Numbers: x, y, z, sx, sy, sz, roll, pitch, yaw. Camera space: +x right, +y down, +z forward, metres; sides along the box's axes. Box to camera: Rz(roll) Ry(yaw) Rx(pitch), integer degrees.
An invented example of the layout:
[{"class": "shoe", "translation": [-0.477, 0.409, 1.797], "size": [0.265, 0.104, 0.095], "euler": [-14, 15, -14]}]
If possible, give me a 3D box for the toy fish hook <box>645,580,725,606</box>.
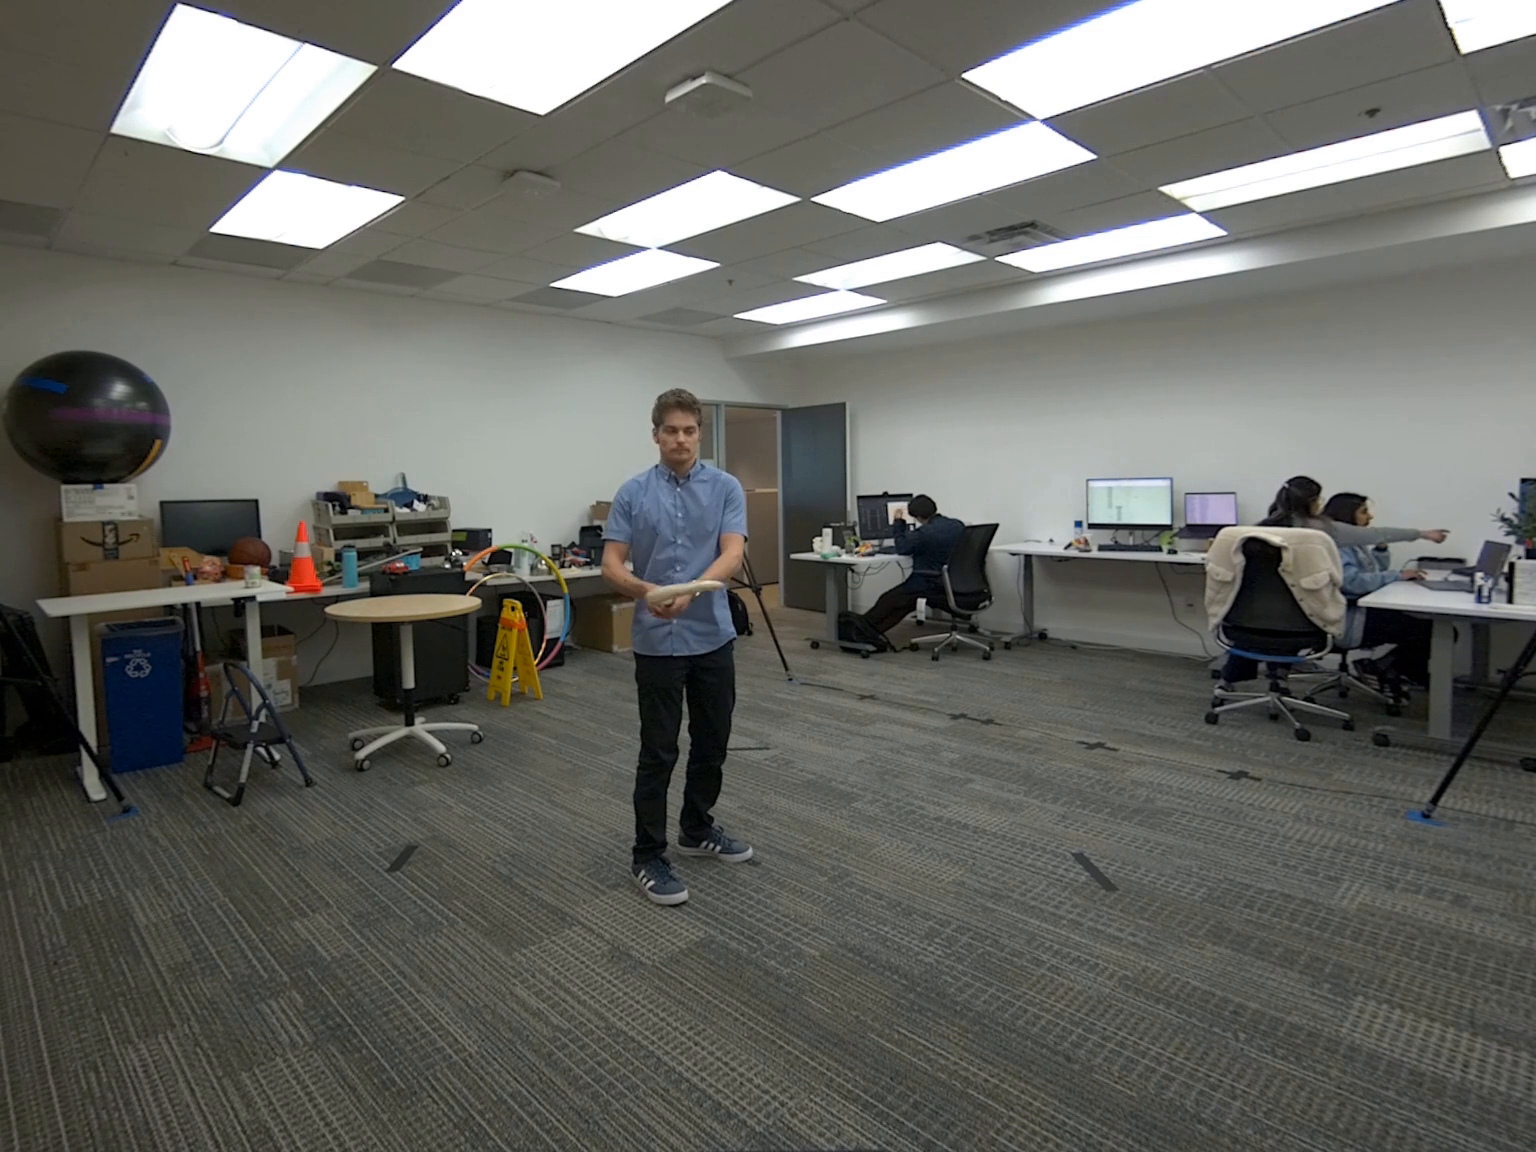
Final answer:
[{"class": "toy fish hook", "translation": [-0.250, 0.067, 2.588], "size": [0.224, 0.048, 0.504], "euler": [-6, -5, -3]}]
